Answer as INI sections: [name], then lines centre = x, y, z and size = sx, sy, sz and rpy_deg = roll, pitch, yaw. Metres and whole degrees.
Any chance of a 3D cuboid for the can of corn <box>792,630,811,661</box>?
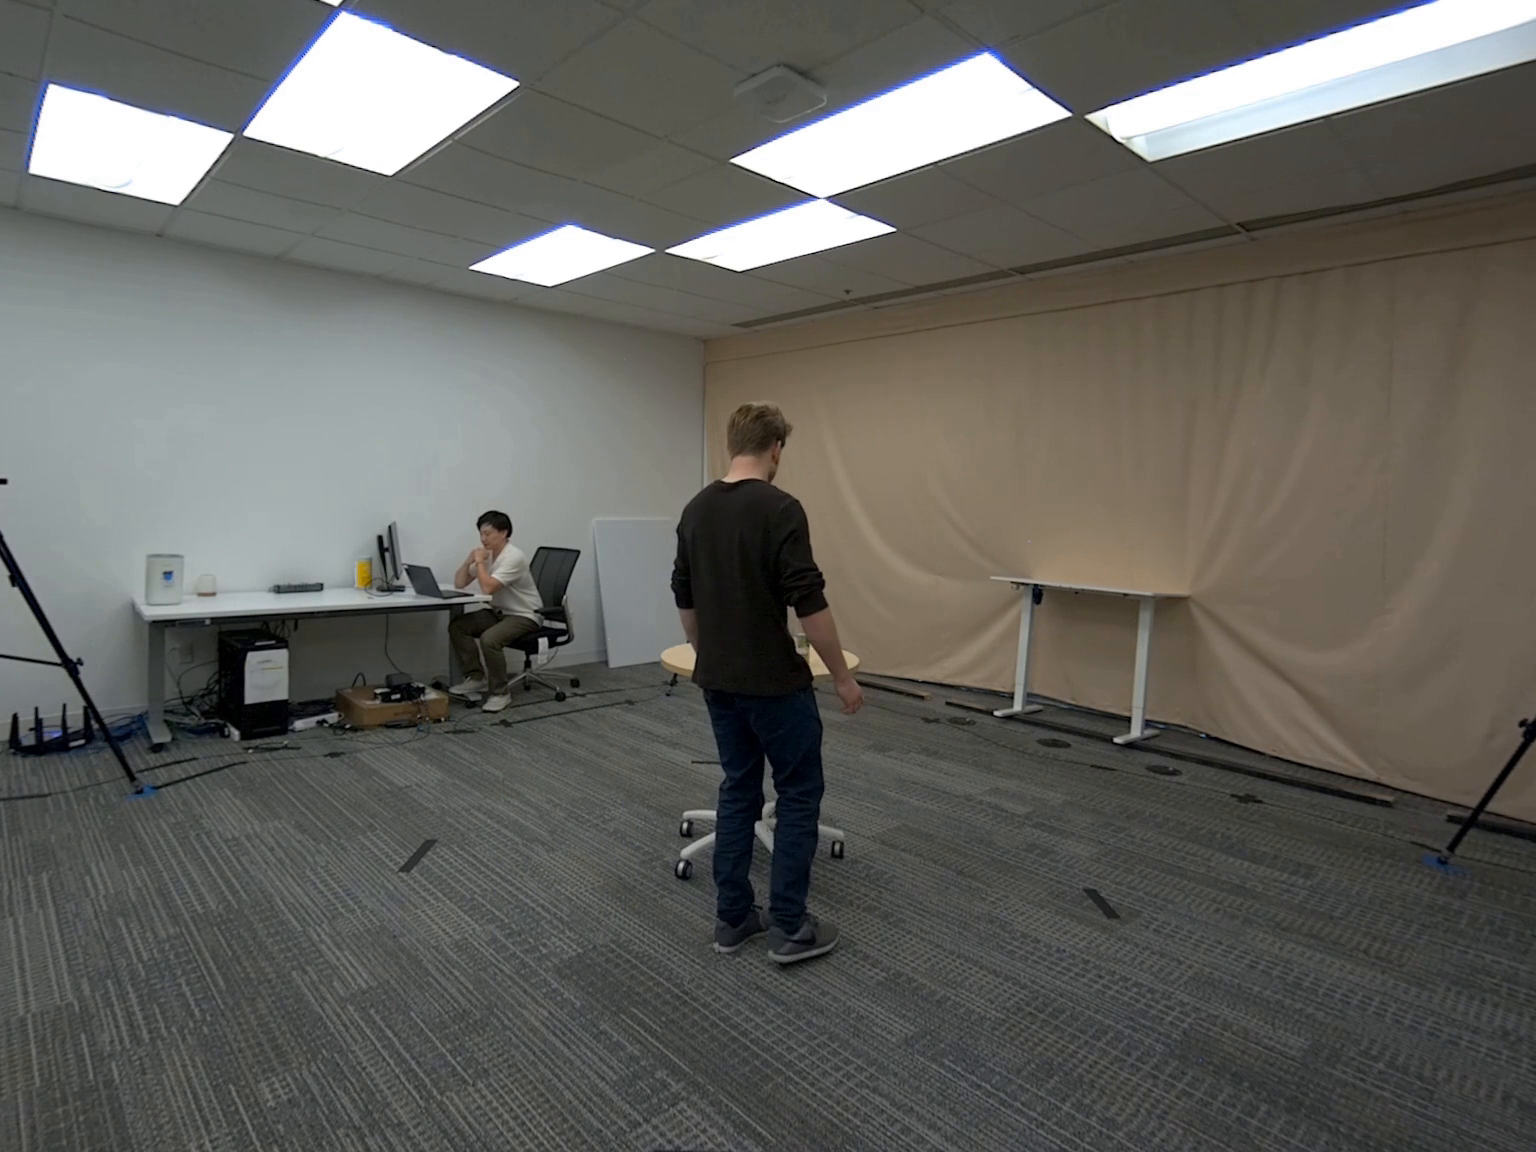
[can of corn]
centre = 0.117, 0.274, 3.105
size = 0.074, 0.111, 0.074
rpy_deg = -2, 3, -1
